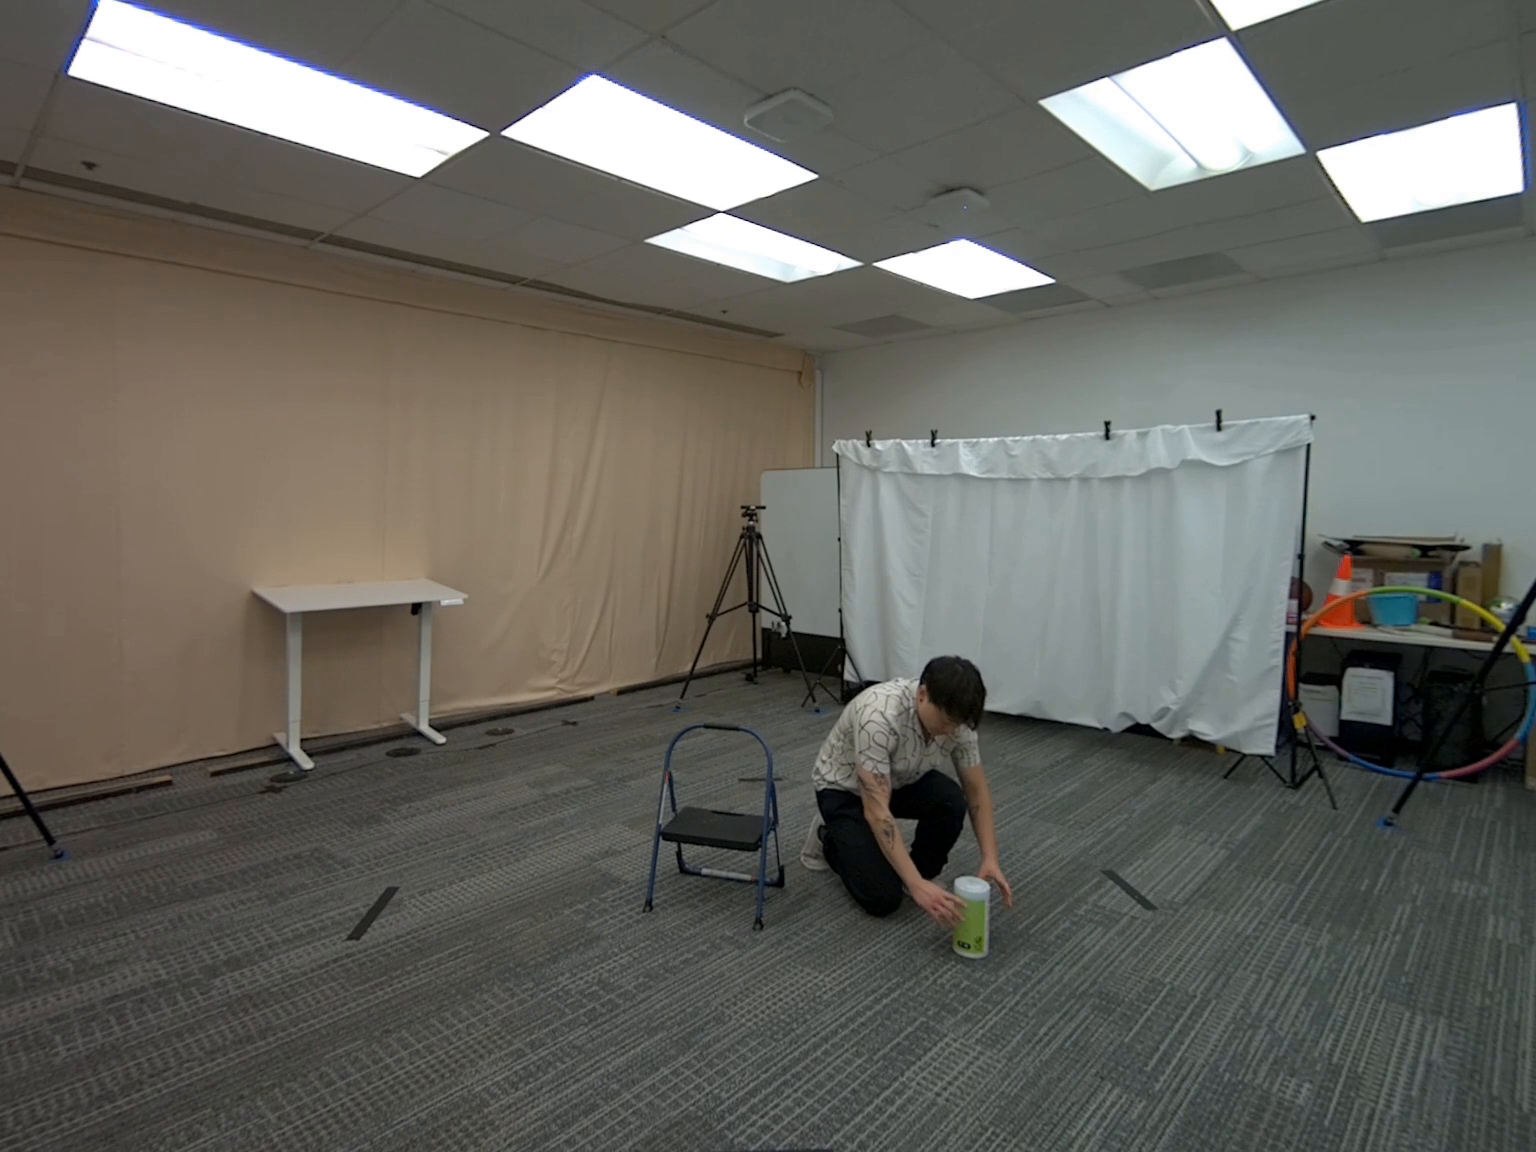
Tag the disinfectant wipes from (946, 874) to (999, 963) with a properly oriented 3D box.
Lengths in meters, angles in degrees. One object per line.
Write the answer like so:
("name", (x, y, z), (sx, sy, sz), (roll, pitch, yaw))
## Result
("disinfectant wipes", (0.631, 1.058, 2.628), (0.118, 0.217, 0.118), (1, 4, -2))
